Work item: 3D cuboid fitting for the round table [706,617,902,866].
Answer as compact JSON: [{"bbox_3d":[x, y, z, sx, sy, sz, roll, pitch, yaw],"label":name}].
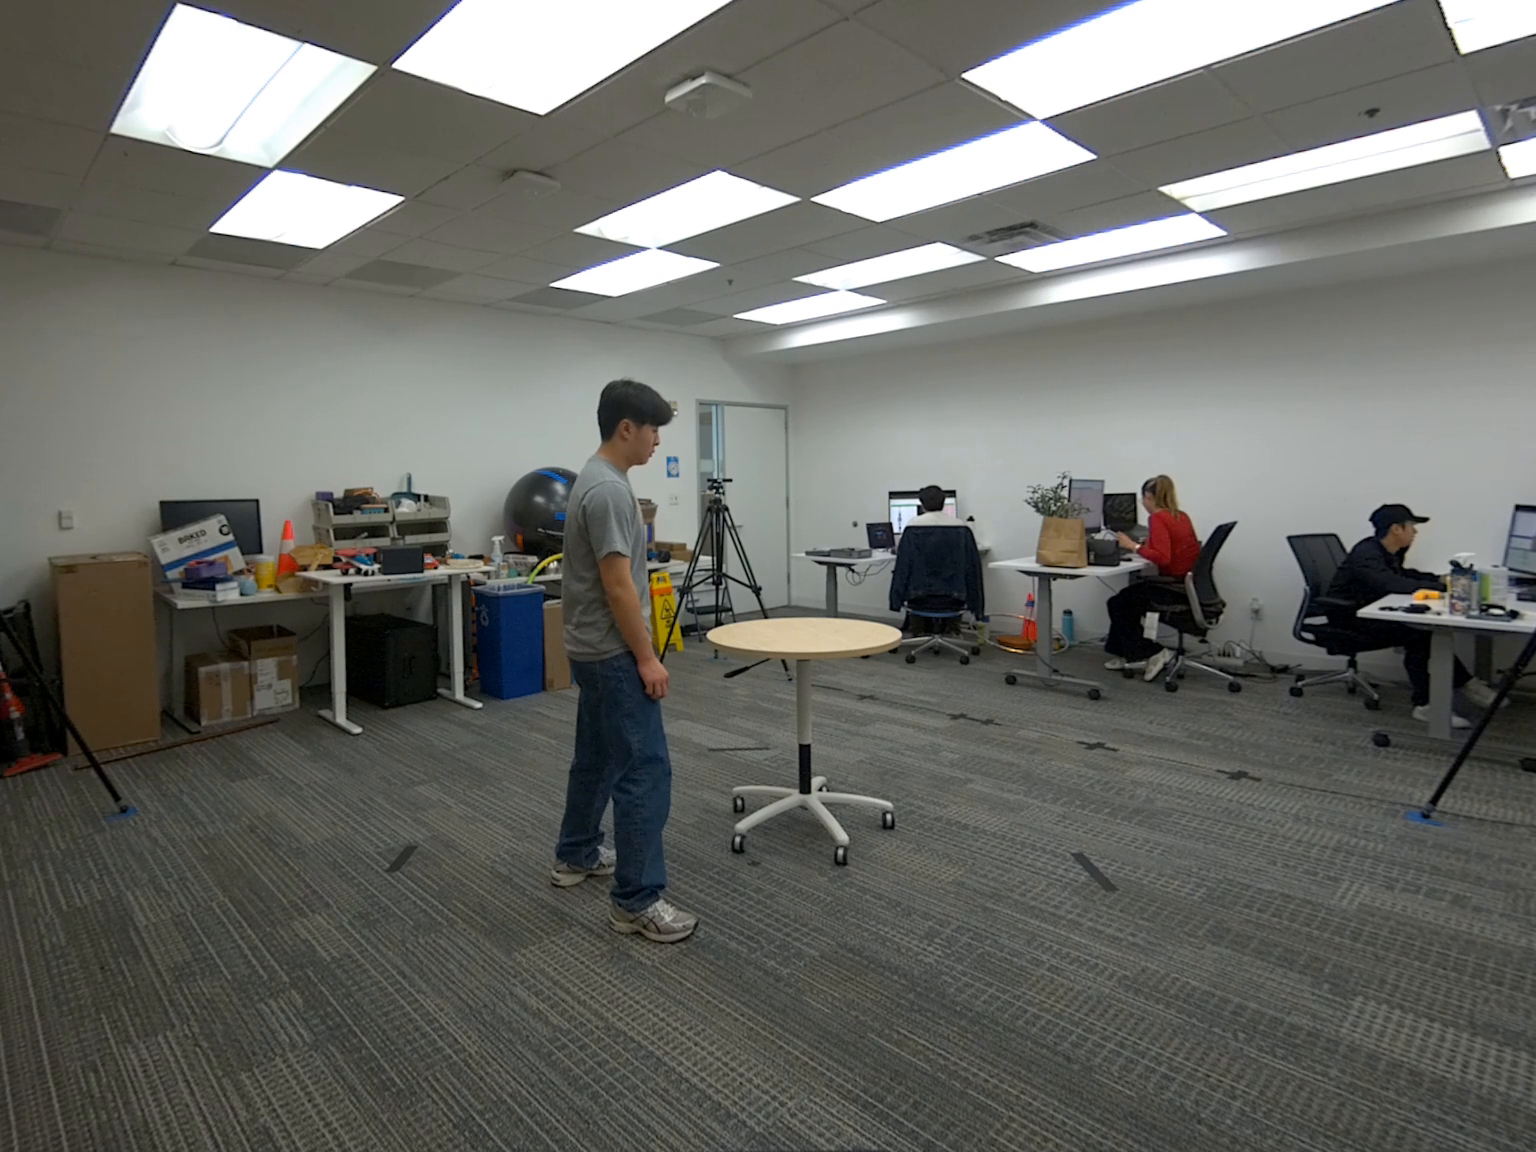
[{"bbox_3d":[0.146,0.620,3.403,0.763,0.791,0.767,-1,4,-2],"label":"round table"}]
